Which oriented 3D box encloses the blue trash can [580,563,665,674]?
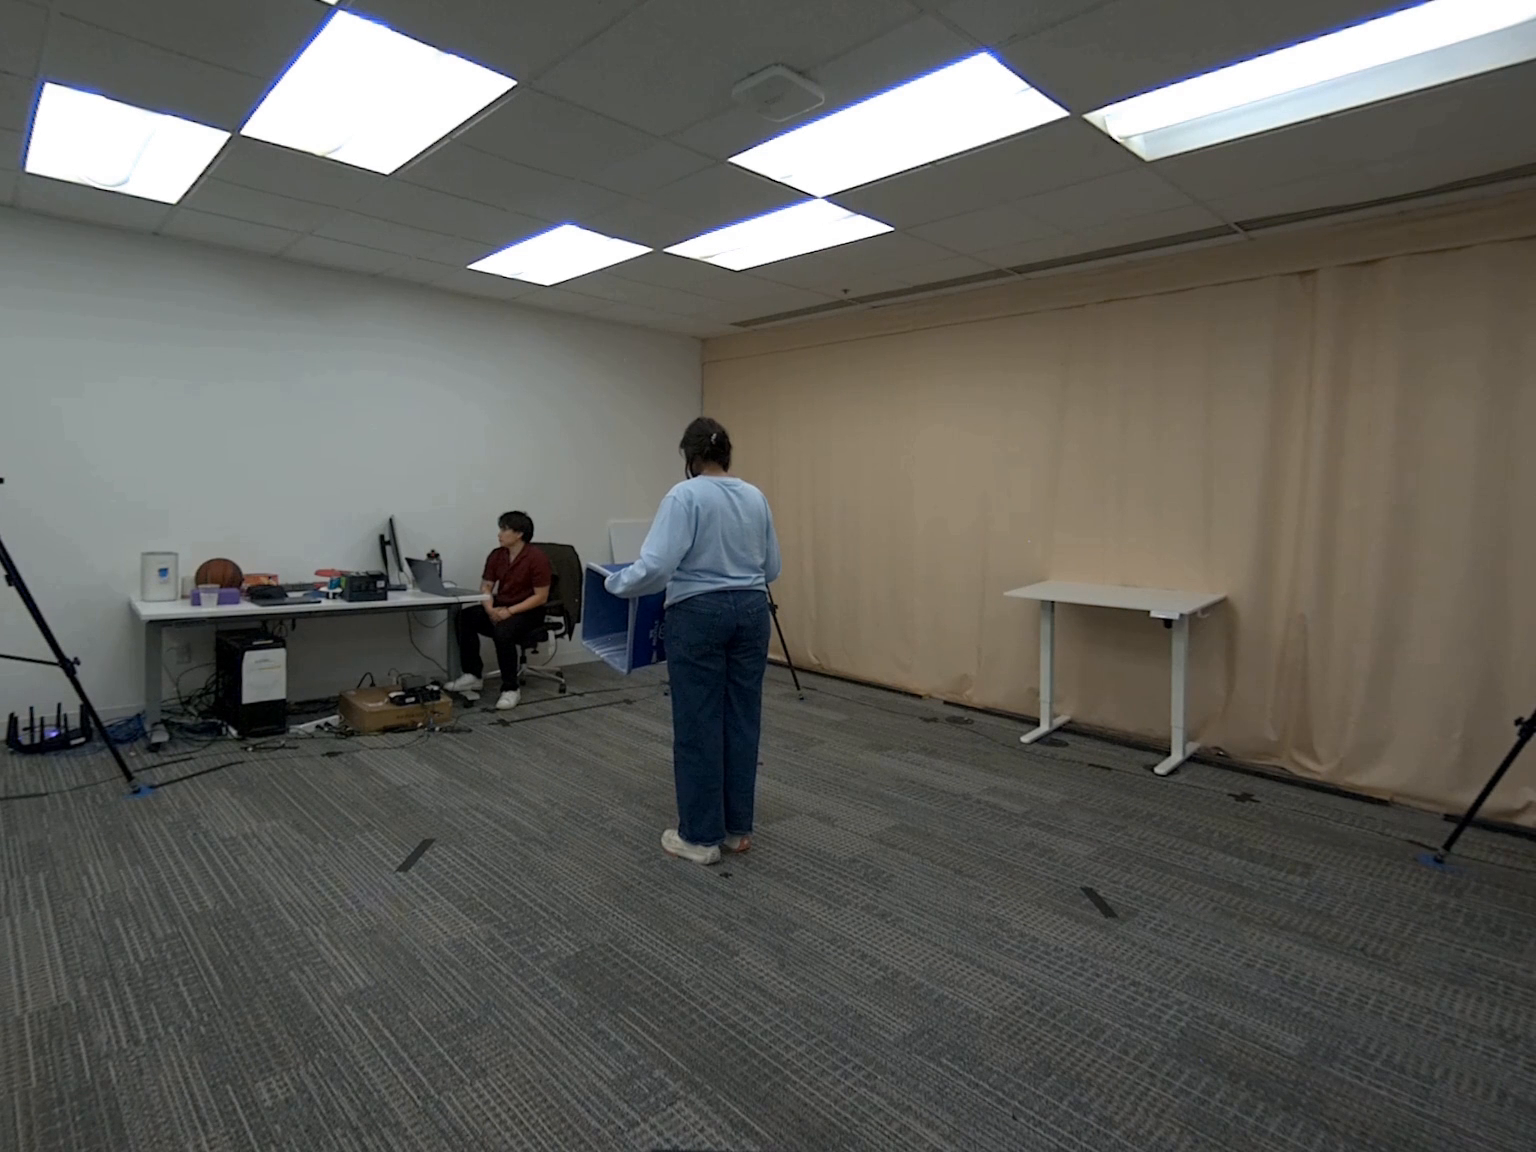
[{"bbox_3d":[-0.395,0.120,3.570,0.699,0.370,0.389,-10,21,-41],"label":"blue trash can"}]
